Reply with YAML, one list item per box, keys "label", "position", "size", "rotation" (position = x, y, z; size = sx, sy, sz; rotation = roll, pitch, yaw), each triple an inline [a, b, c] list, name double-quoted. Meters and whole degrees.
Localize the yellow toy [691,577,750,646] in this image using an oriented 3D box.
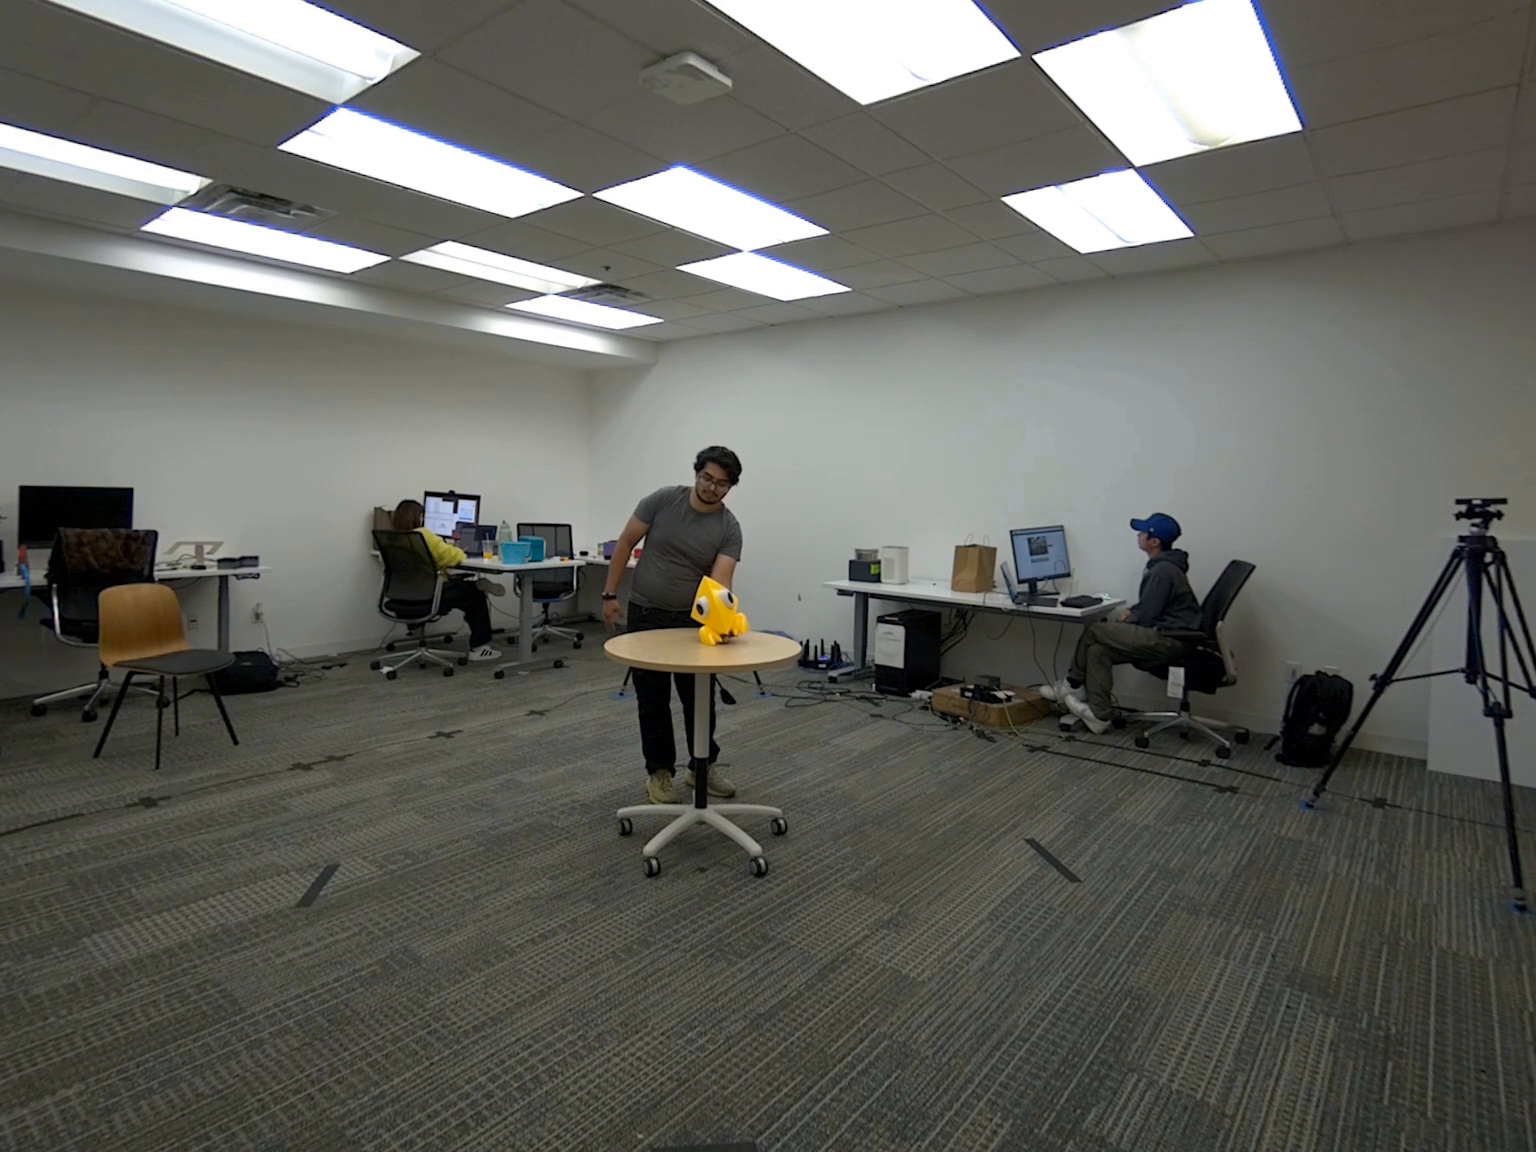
- label: "yellow toy"
  position: [-0.217, 0.117, 3.365]
  size: [0.204, 0.226, 0.198]
  rotation: [-19, 16, -8]
